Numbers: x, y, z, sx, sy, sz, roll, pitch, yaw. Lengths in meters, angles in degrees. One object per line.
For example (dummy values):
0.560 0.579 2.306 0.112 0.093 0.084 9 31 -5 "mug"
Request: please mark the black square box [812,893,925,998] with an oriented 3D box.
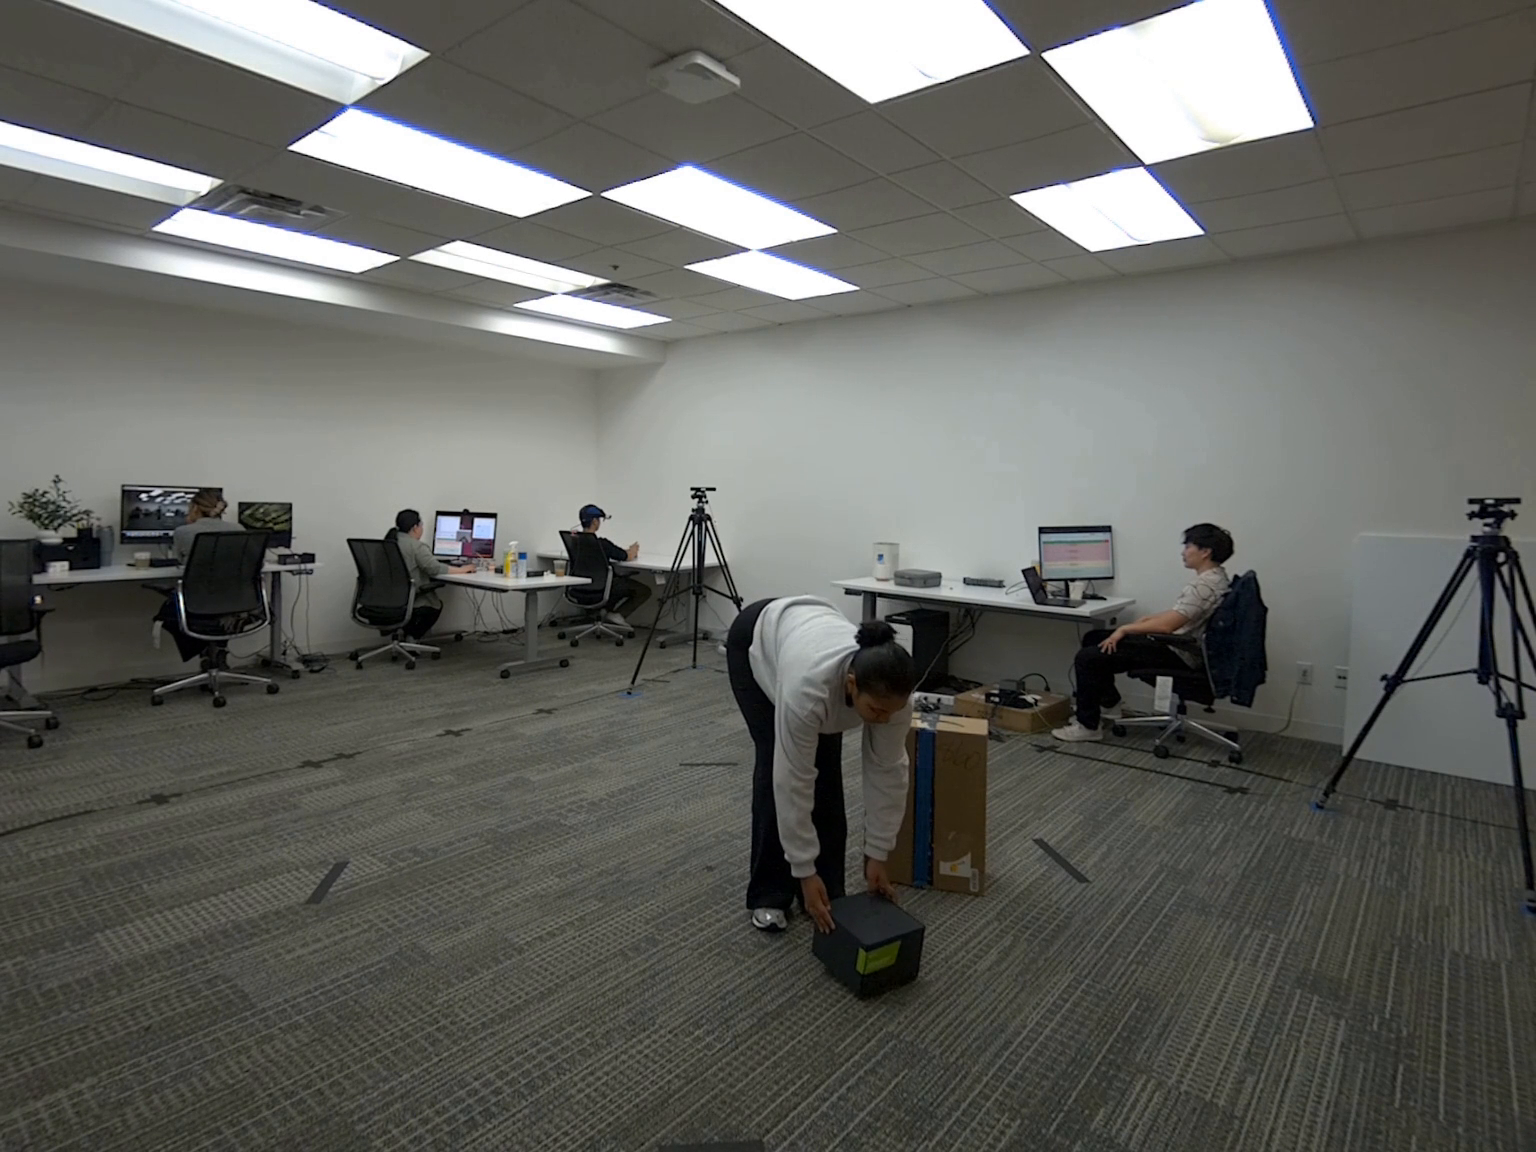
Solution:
0.282 1.034 2.448 0.221 0.155 0.225 0 11 -35 "black square box"
